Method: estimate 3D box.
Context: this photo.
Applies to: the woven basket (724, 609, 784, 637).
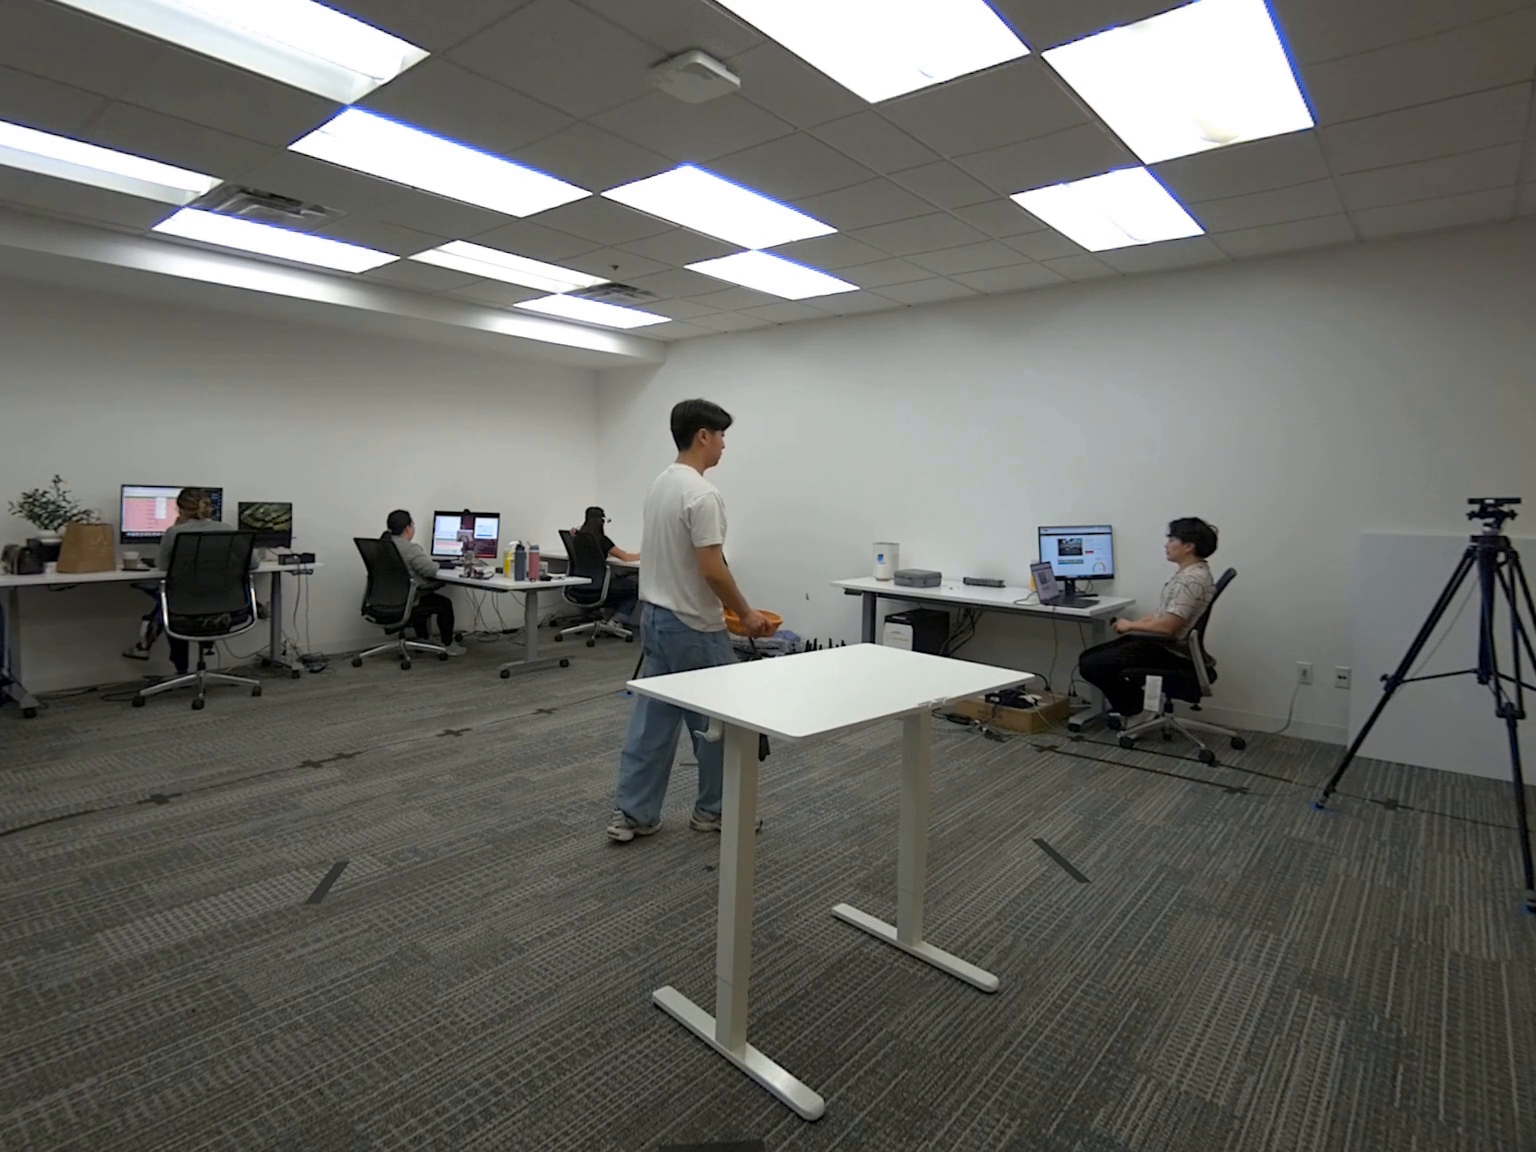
[{"bbox_3d":[-0.109,0.188,3.473,0.245,0.073,0.362,0,8,-30],"label":"woven basket"}]
